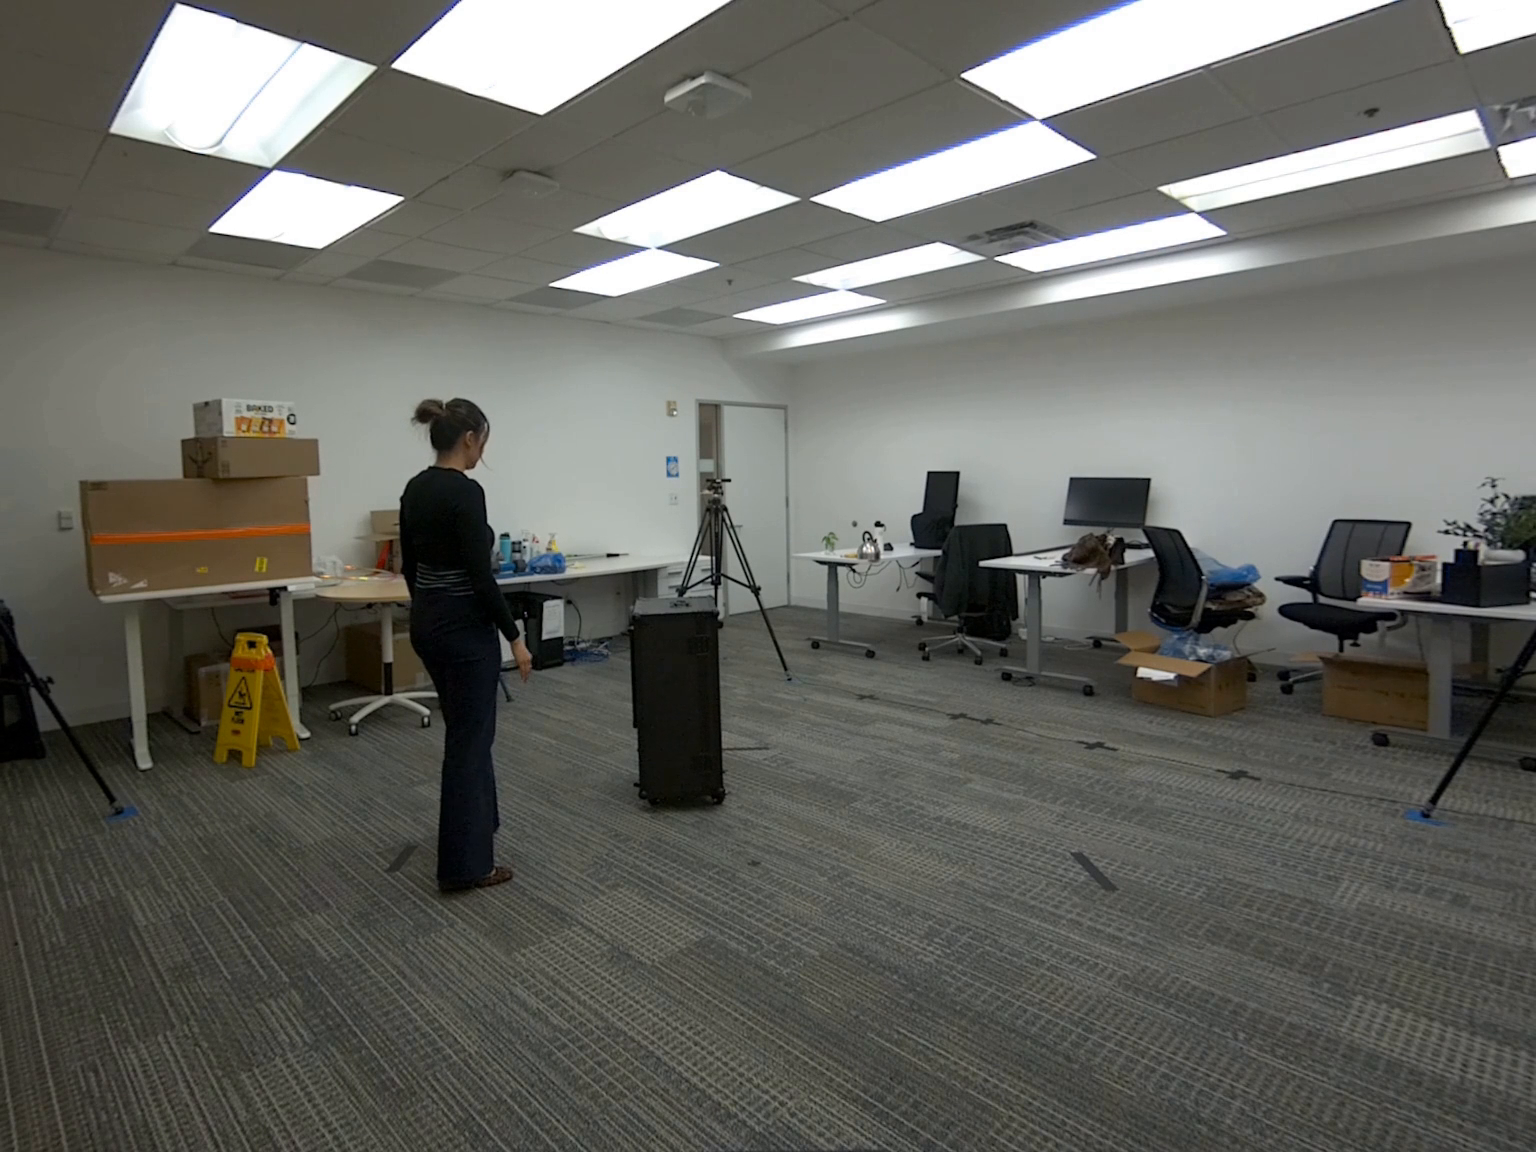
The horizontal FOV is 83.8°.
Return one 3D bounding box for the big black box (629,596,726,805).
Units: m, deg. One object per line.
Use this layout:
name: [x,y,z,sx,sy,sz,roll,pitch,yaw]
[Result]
big black box: [-0.411,0.545,3.791,0.395,0.858,0.525,-3,4,-5]
